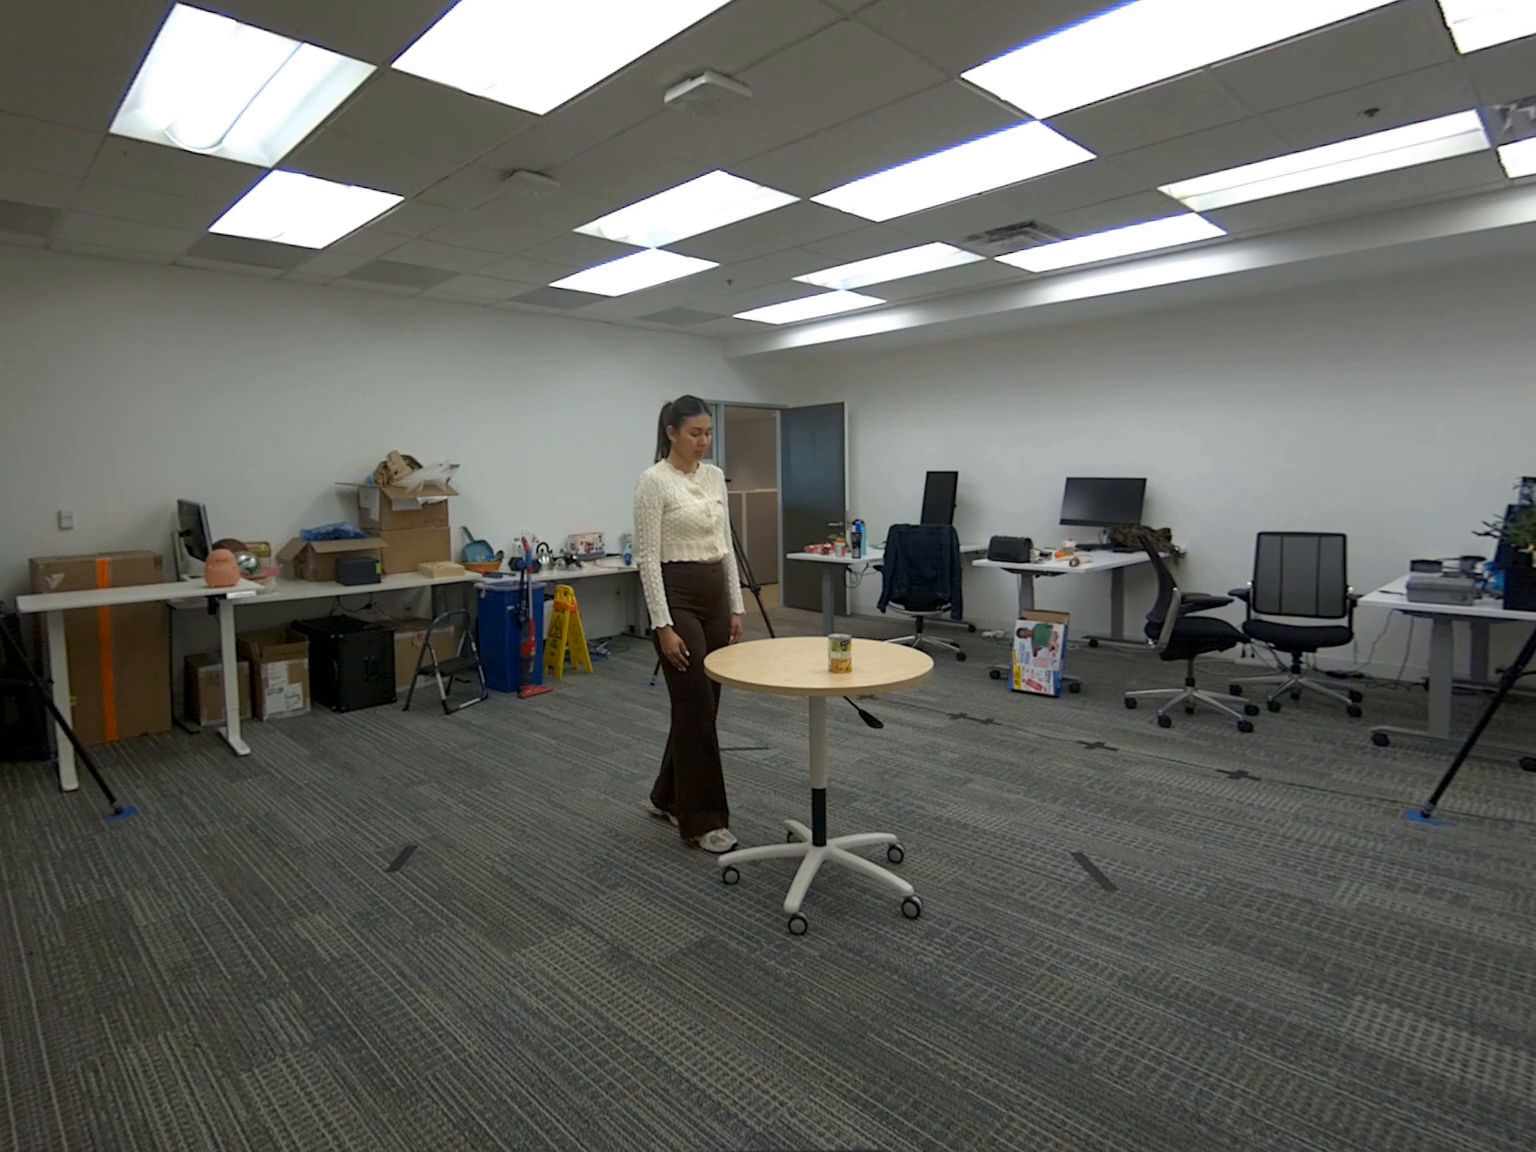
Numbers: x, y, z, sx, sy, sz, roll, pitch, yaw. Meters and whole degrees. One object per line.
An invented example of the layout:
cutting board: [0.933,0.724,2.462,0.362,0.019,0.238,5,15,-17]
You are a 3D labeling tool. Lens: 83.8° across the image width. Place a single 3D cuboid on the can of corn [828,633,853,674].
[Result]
can of corn: [0.240,0.248,2.709,0.074,0.110,0.074,0,5,-2]
